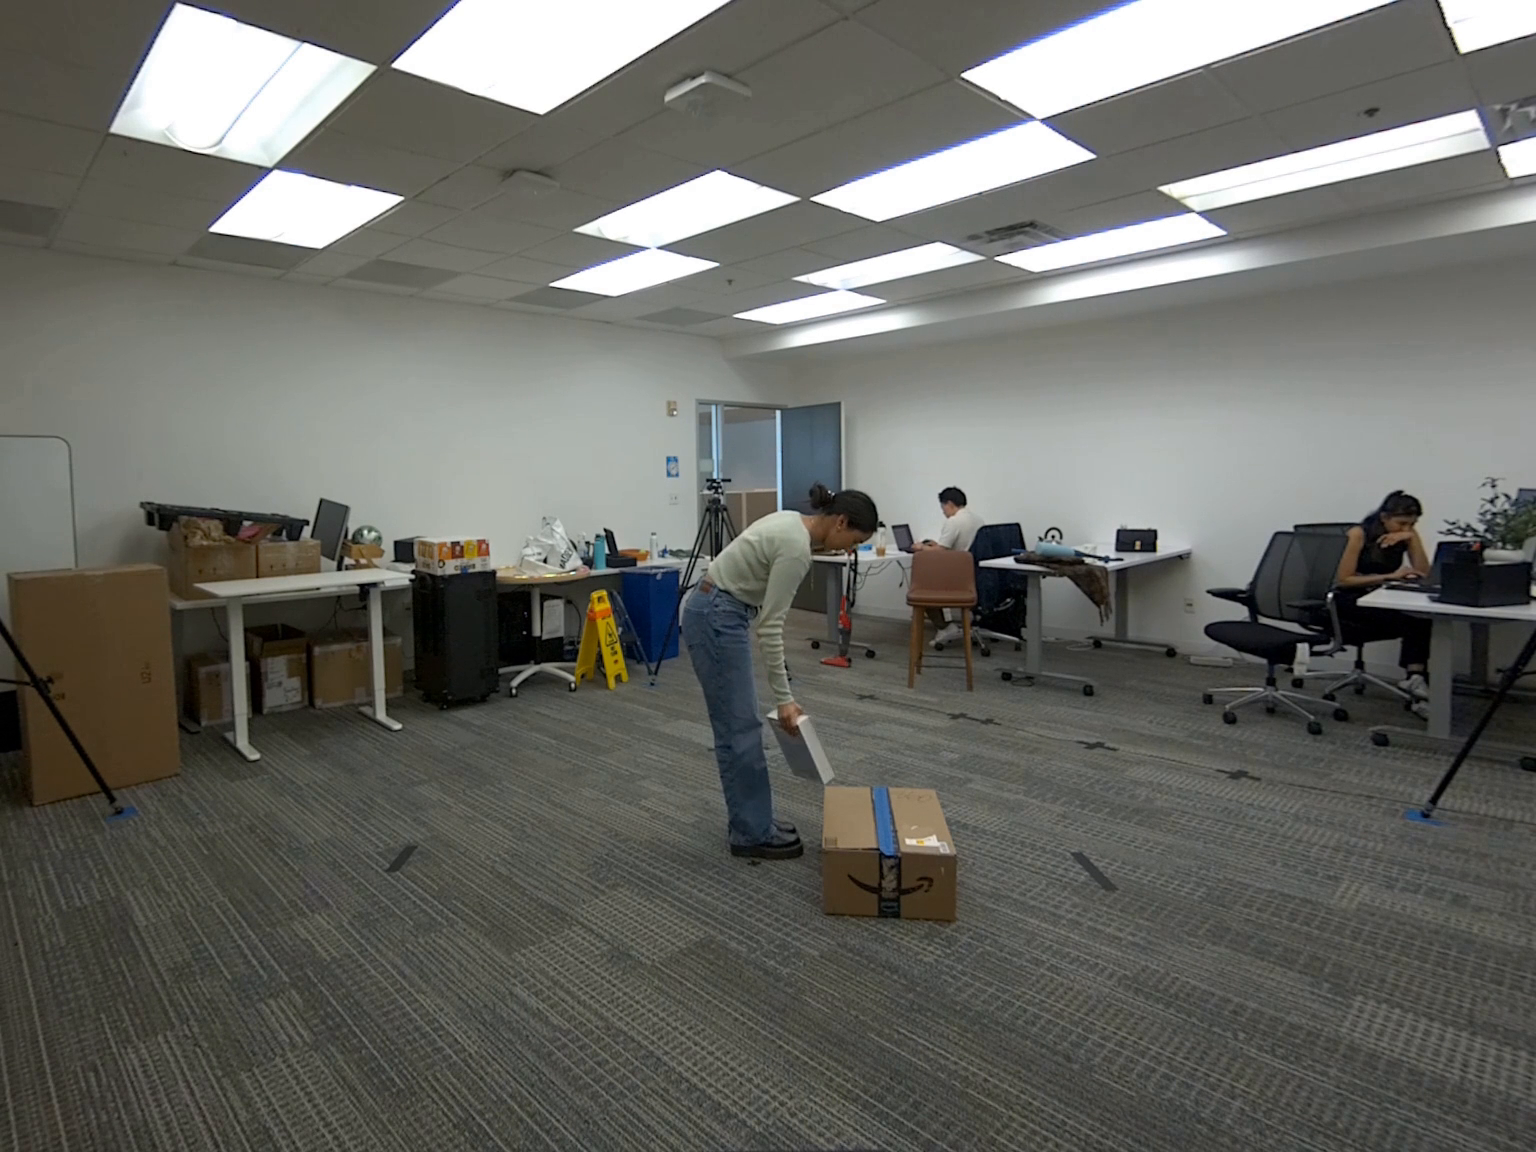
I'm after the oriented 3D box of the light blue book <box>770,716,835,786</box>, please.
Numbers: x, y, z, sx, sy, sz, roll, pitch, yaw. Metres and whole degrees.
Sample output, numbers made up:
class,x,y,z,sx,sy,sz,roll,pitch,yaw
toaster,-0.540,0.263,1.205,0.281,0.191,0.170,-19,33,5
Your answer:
class,x,y,z,sx,sy,sz,roll,pitch,yaw
light blue book,0.120,0.607,3.052,0.058,0.256,0.196,-33,18,-31
